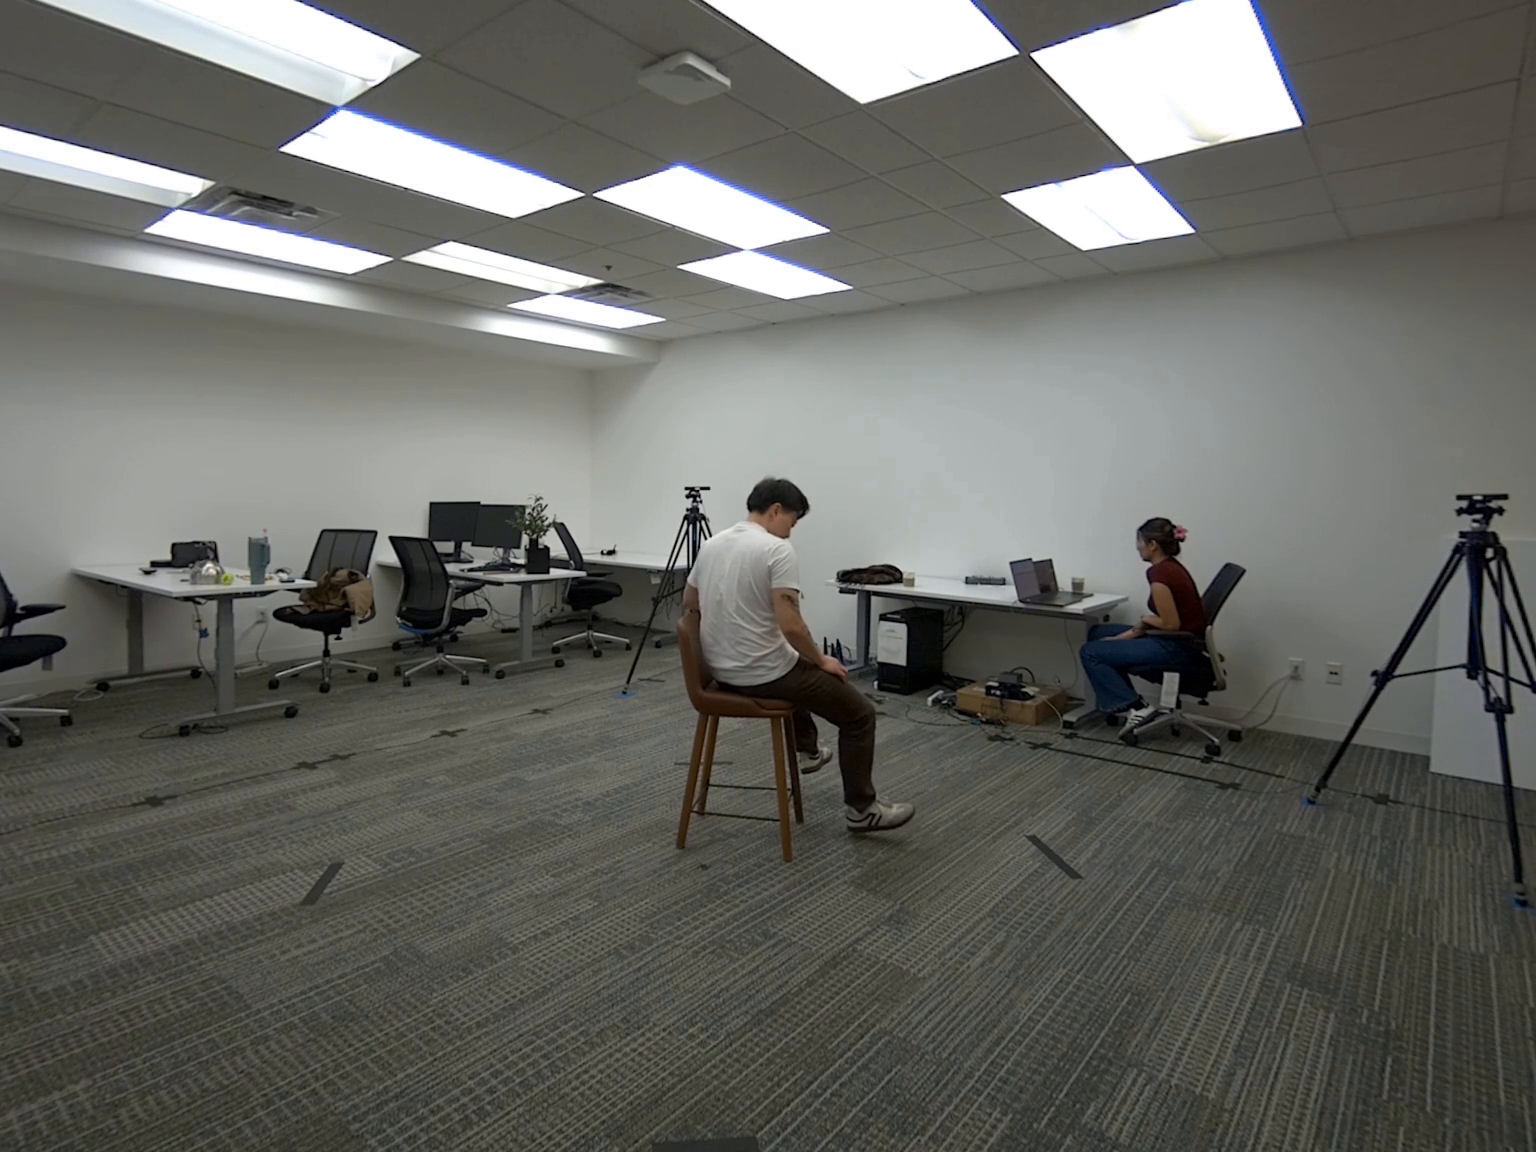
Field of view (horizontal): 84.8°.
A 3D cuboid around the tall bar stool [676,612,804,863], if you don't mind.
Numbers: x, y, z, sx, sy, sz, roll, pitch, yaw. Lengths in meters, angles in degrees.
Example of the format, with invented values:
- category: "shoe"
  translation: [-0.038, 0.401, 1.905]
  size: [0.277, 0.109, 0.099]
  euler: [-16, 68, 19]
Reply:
- category: "tall bar stool"
  translation: [-0.115, 0.607, 3.399]
  size: [0.474, 0.888, 0.452]
  euler: [0, 3, 11]
